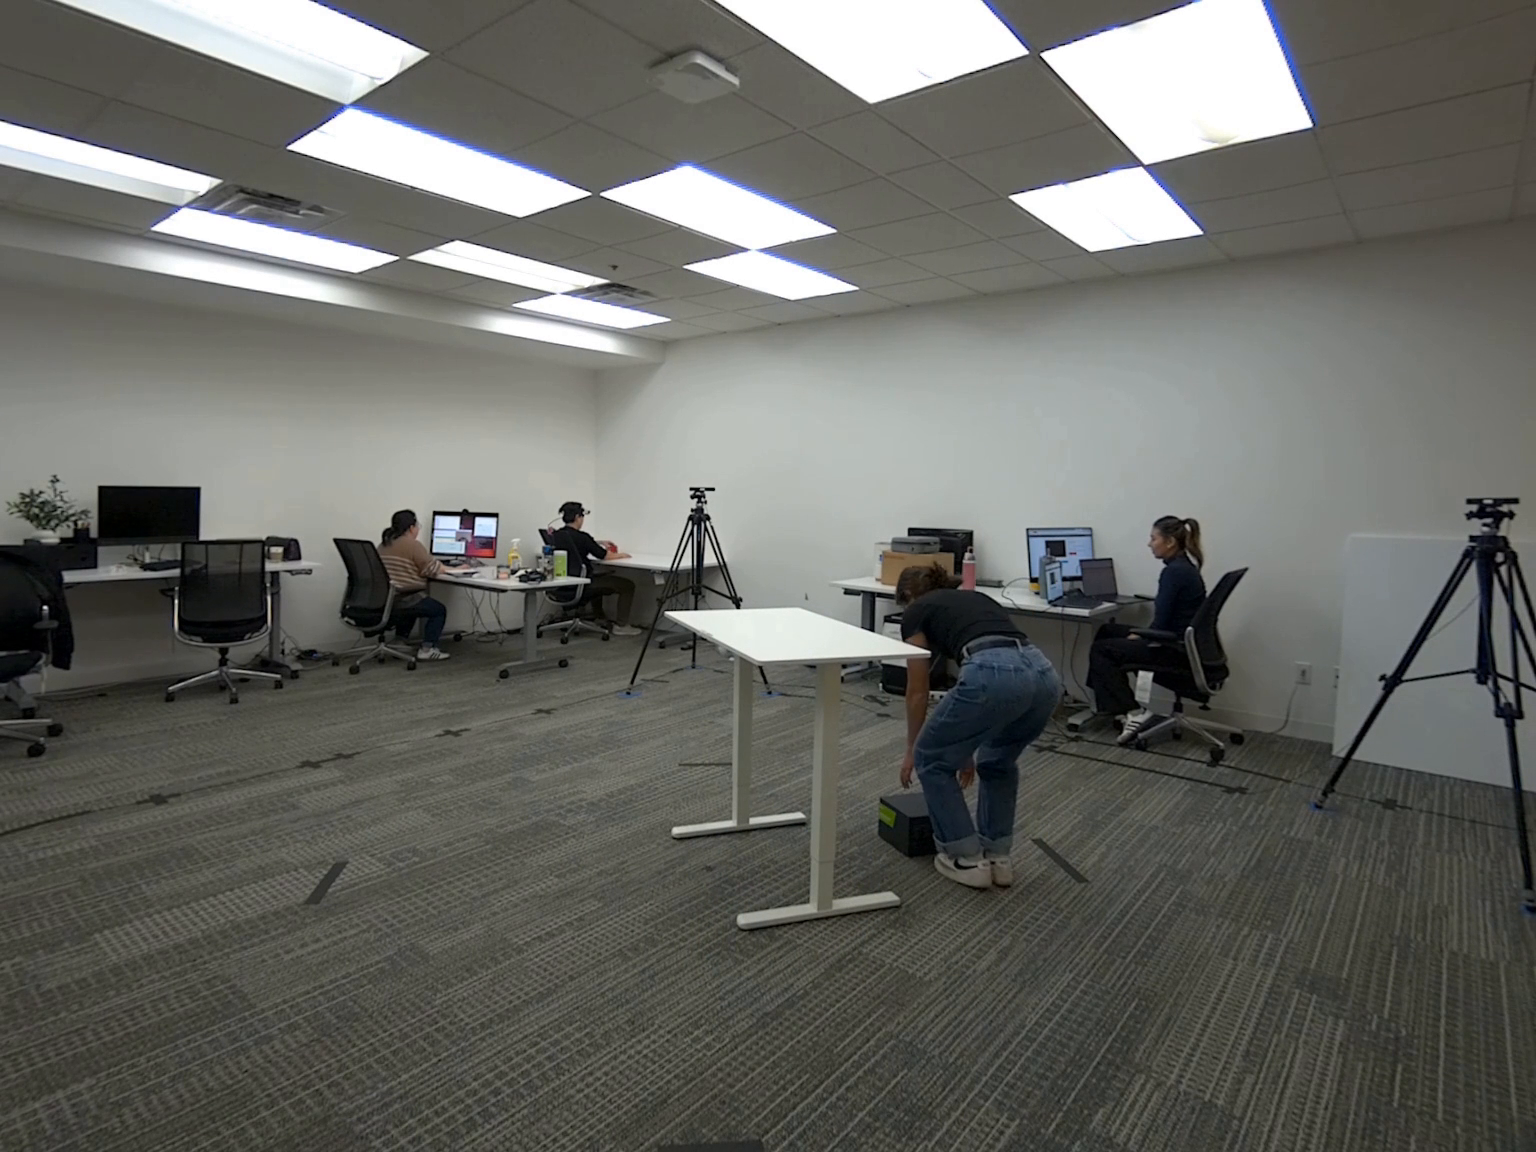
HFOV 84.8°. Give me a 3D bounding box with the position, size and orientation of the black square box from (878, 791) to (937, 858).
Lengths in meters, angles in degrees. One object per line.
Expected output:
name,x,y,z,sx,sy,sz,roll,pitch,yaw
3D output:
black square box,0.583,0.974,3.377,0.212,0.155,0.234,-1,5,-22
